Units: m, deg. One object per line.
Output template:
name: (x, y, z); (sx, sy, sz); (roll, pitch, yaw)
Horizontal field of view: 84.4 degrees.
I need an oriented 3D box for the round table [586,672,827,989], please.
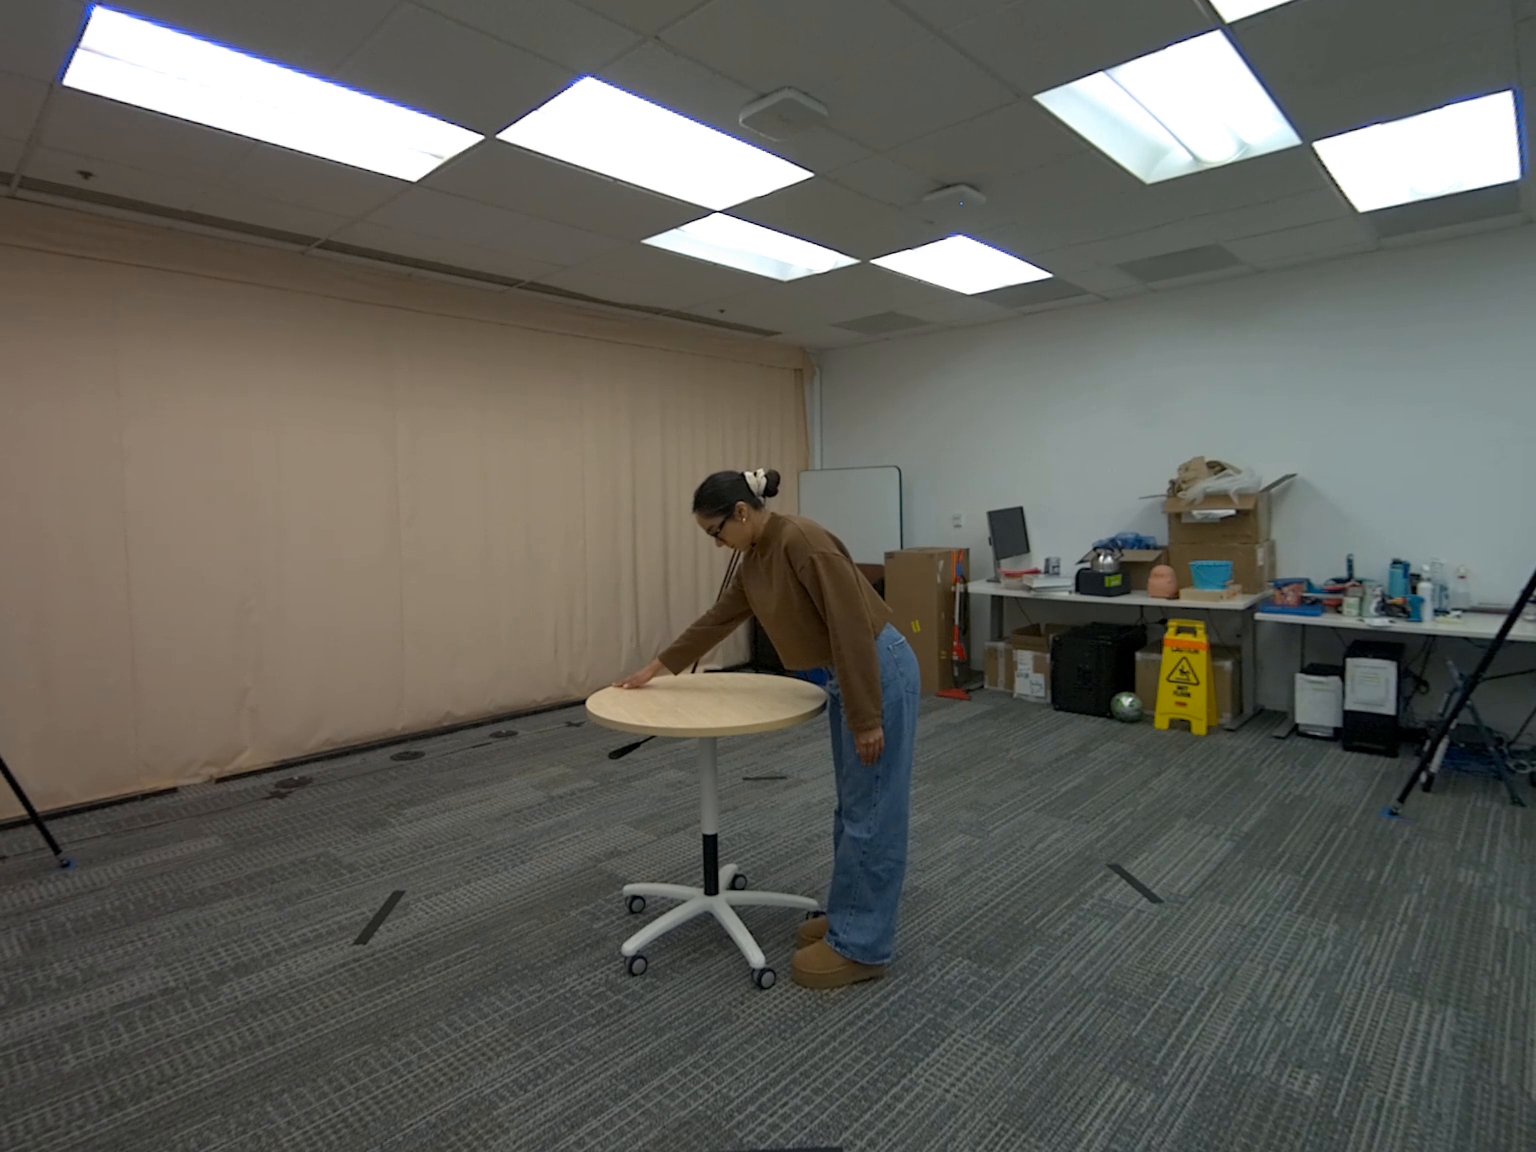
round table: (-0.188, 0.780, 2.710); (0.763, 0.792, 0.767); (-2, 4, -2)
